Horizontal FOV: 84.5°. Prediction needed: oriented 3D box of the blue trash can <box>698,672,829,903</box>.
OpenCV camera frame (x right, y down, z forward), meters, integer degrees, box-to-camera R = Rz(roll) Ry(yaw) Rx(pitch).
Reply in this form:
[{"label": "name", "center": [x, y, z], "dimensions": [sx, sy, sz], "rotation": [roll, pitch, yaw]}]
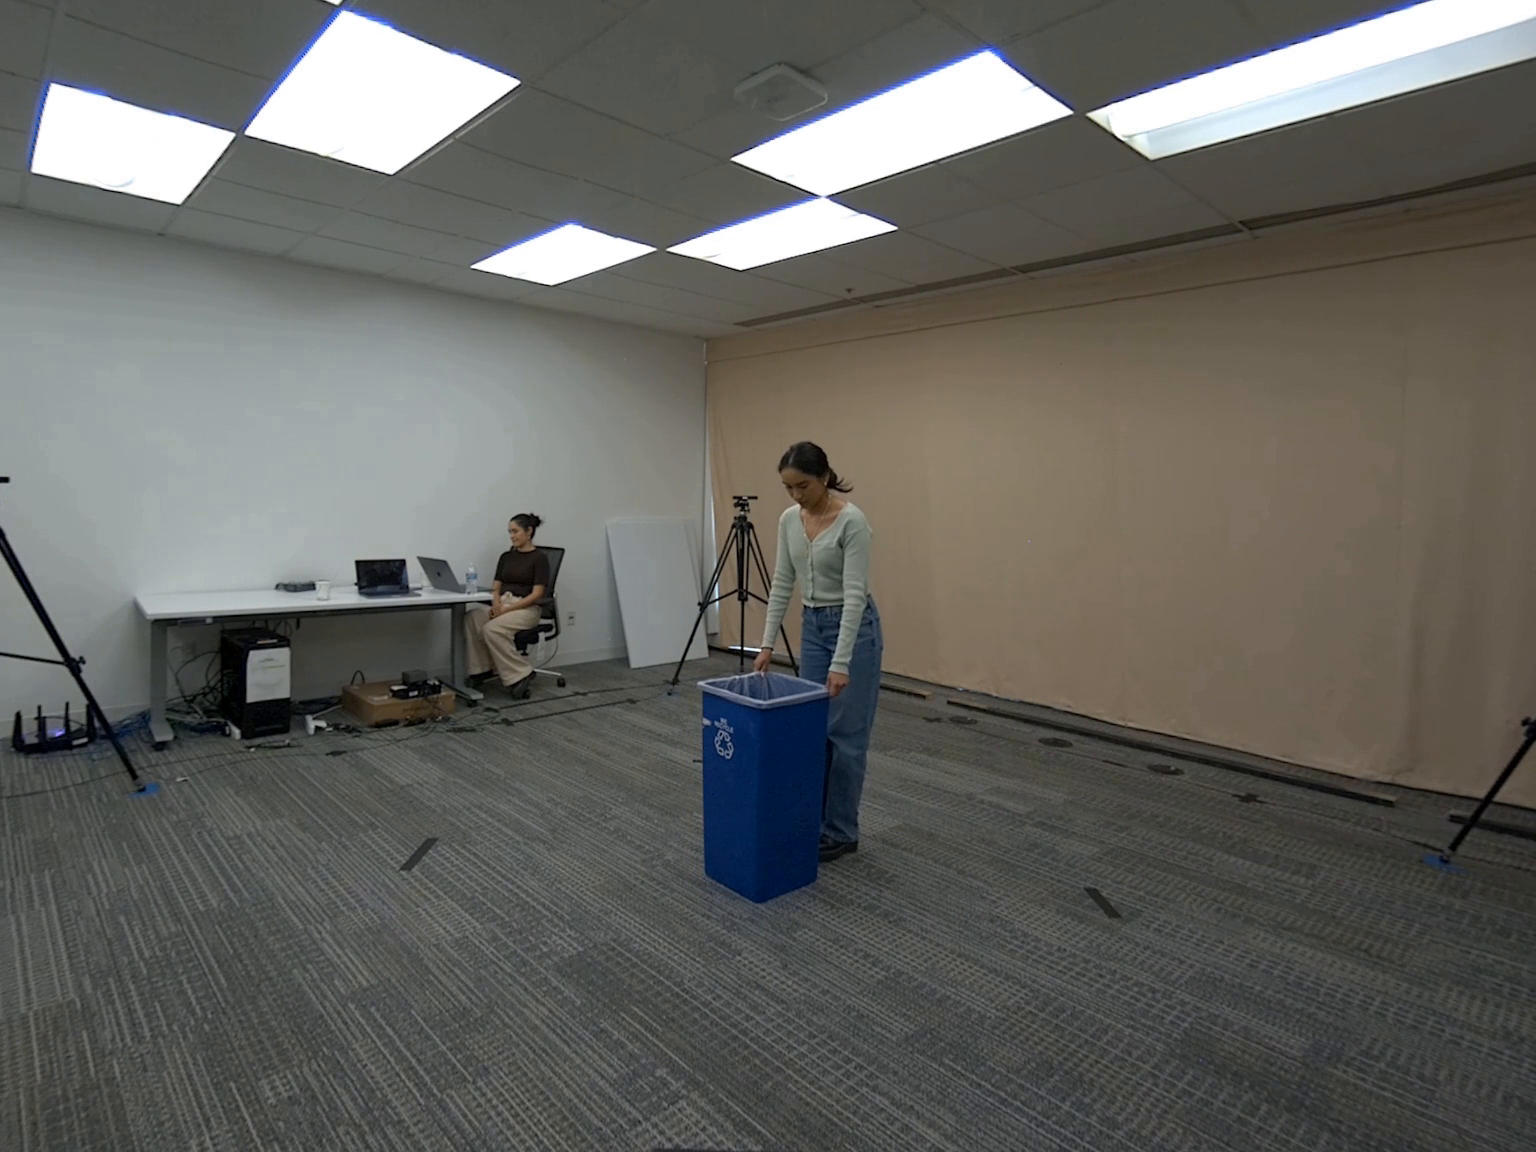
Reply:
[{"label": "blue trash can", "center": [-0.020, 0.752, 3.064], "dimensions": [0.369, 0.712, 0.383], "rotation": [-2, 4, -41]}]
